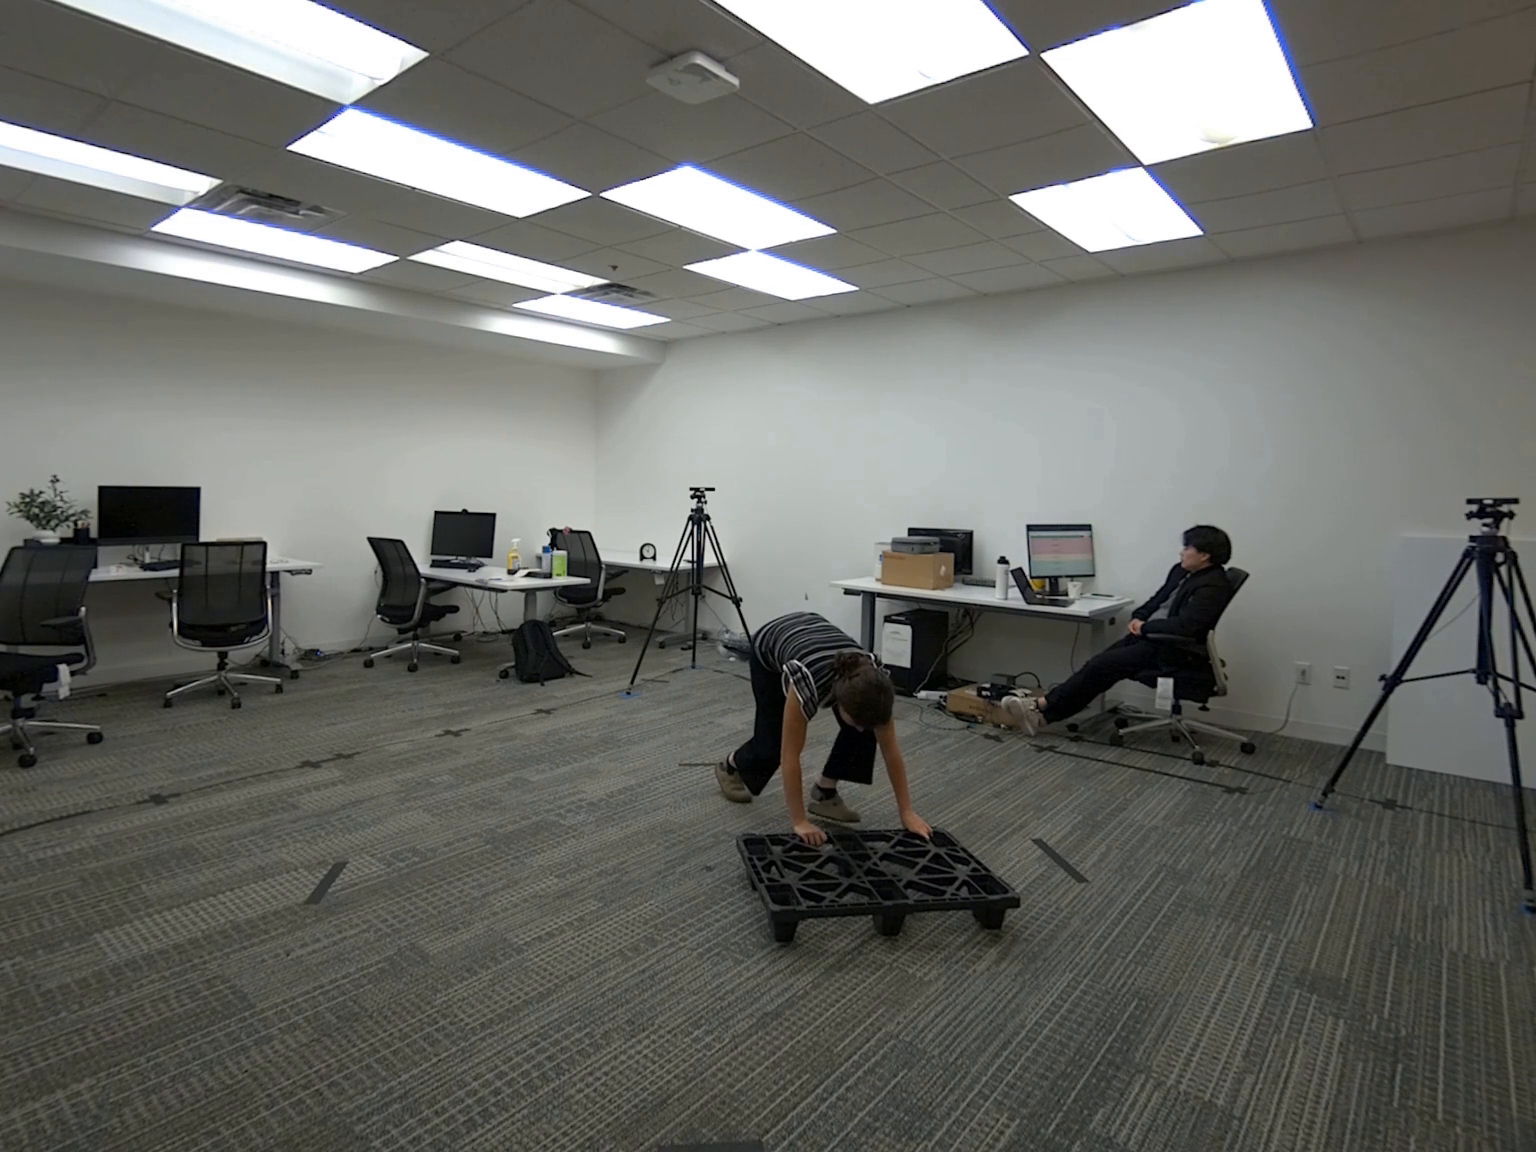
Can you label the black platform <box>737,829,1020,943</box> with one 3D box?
[{"bbox_3d":[0.328,1.030,2.871,0.797,0.143,0.614,0,5,-11],"label":"black platform"}]
